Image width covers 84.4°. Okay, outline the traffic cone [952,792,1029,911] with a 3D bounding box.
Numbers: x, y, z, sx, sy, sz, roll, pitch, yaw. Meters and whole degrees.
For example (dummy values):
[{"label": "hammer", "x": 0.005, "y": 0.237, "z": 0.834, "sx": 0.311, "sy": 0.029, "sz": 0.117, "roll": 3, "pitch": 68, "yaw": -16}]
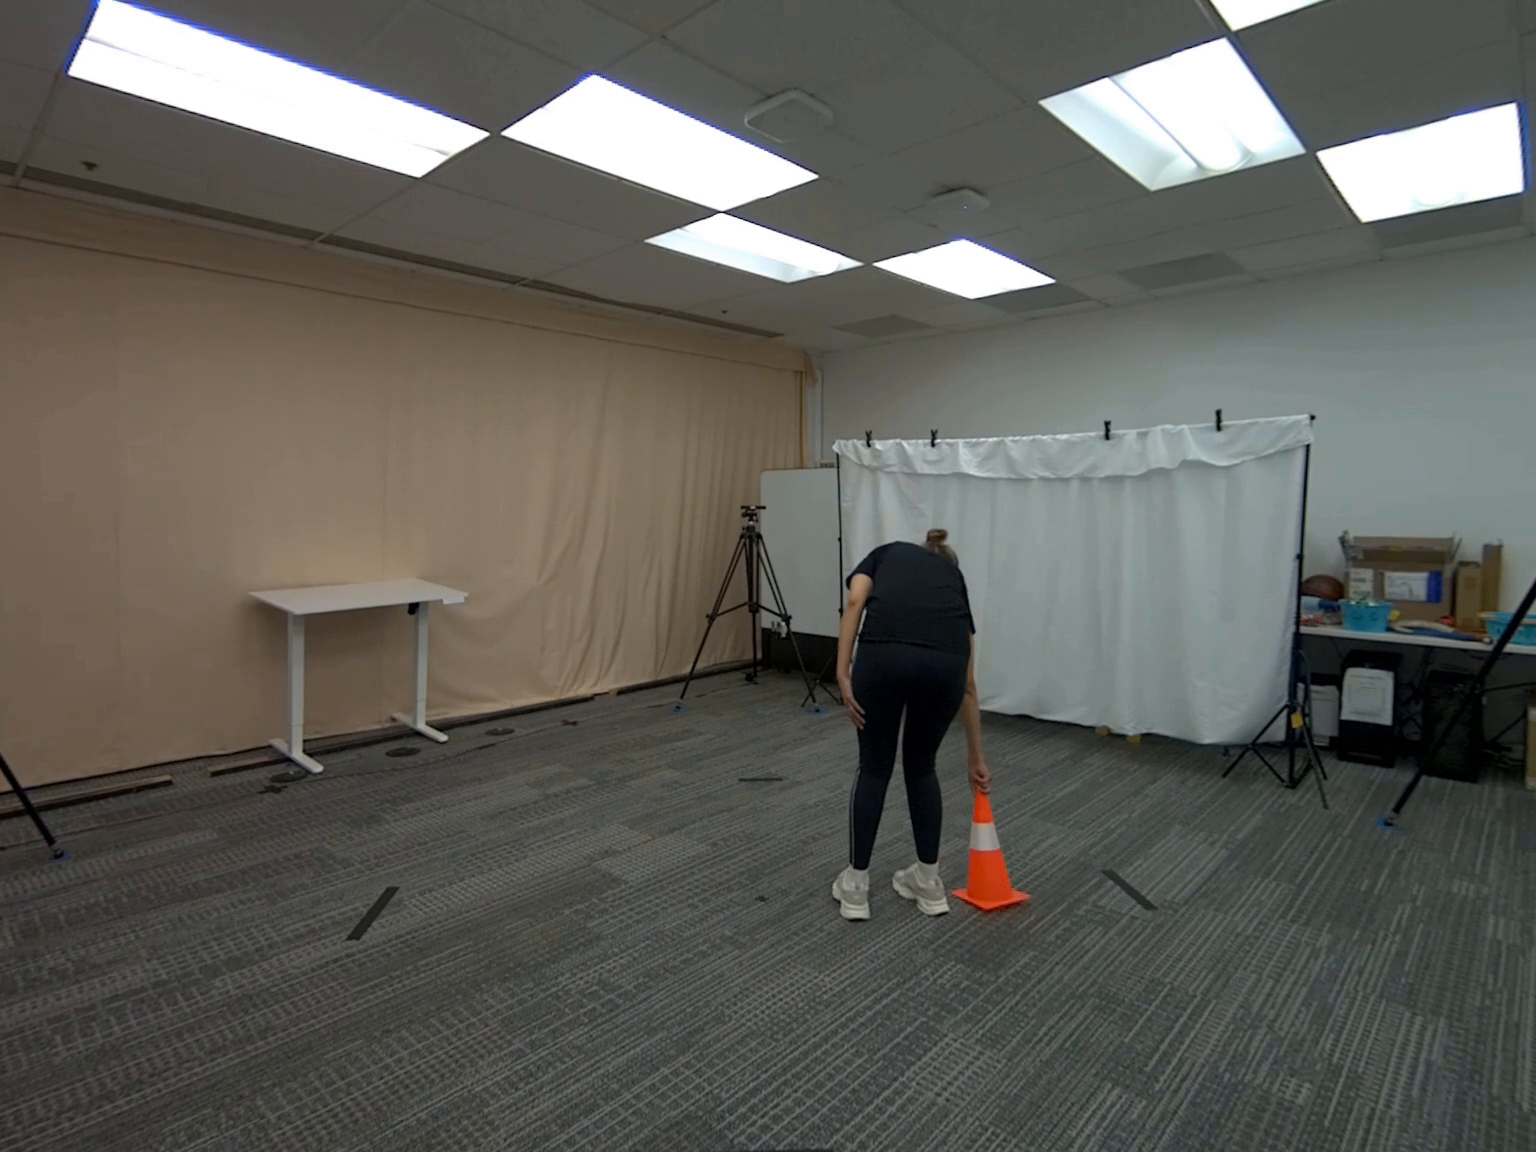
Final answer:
[{"label": "traffic cone", "x": 0.767, "y": 0.946, "z": 2.990, "sx": 0.200, "sy": 0.385, "sz": 0.207, "roll": -5, "pitch": -4, "yaw": -26}]
